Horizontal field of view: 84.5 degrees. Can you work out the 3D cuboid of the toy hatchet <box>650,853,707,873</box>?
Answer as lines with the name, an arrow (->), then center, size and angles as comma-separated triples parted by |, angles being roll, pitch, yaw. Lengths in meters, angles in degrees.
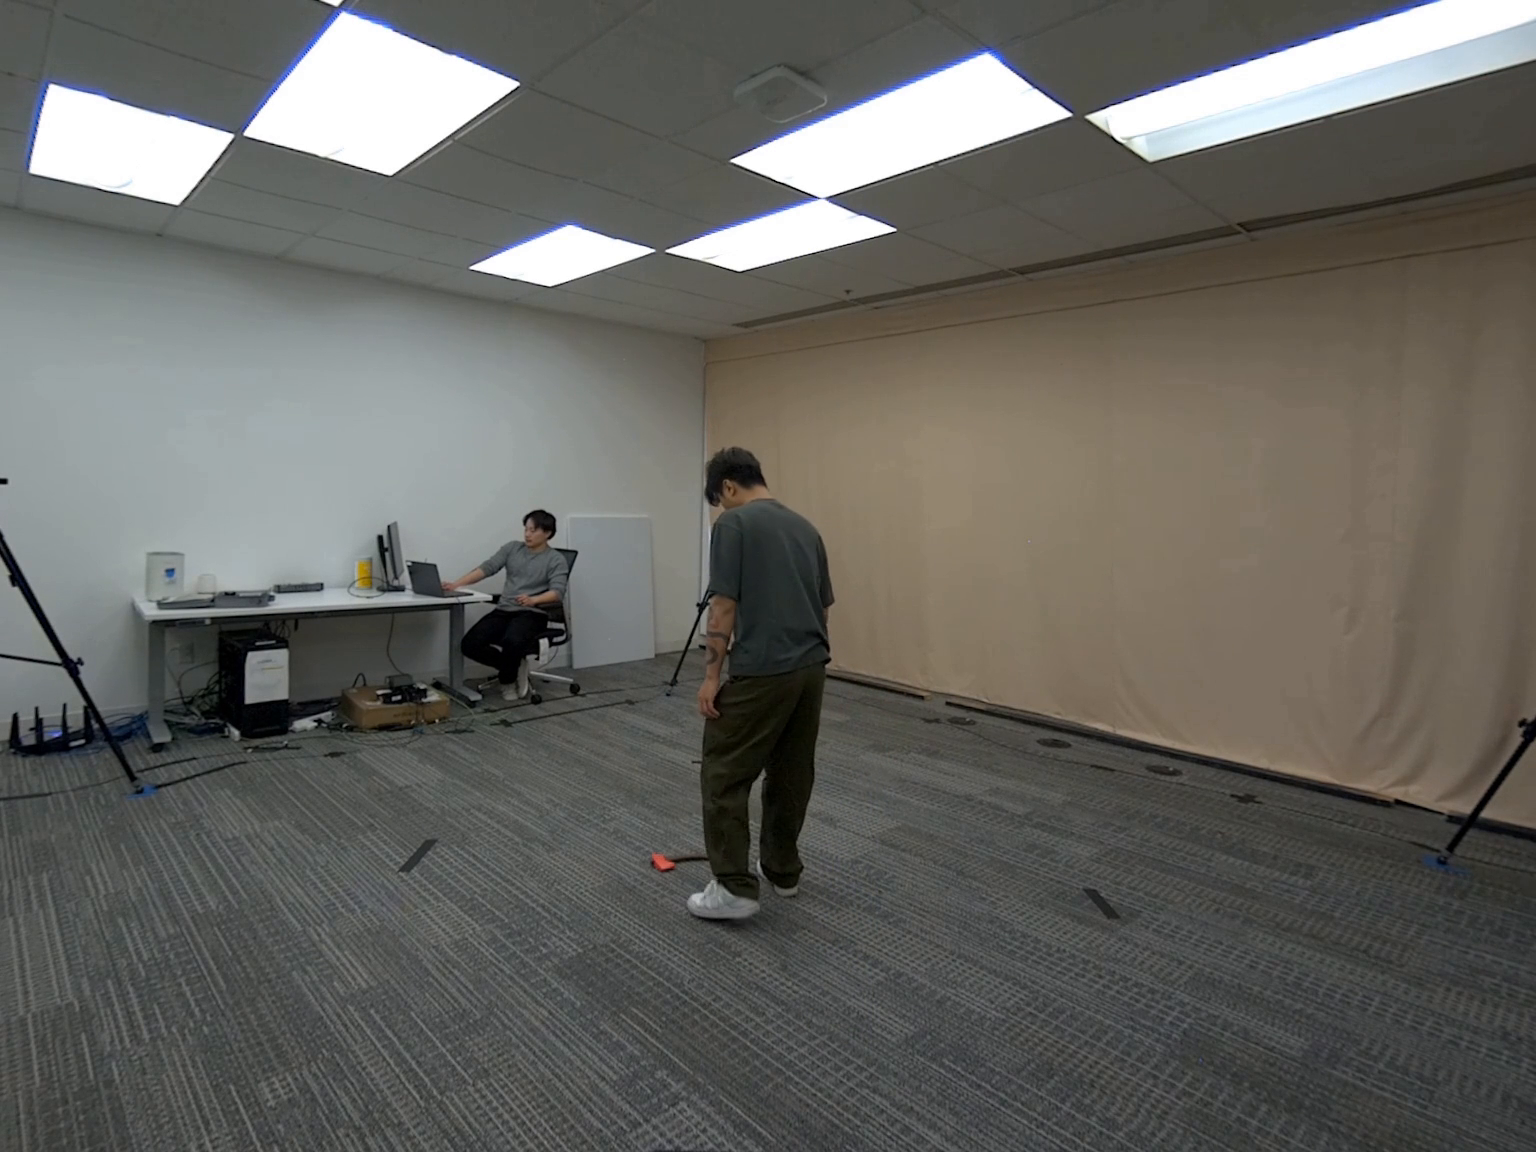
toy hatchet -> -0.318, 1.084, 3.184 | 0.269, 0.029, 0.132 | 2, 4, -4
